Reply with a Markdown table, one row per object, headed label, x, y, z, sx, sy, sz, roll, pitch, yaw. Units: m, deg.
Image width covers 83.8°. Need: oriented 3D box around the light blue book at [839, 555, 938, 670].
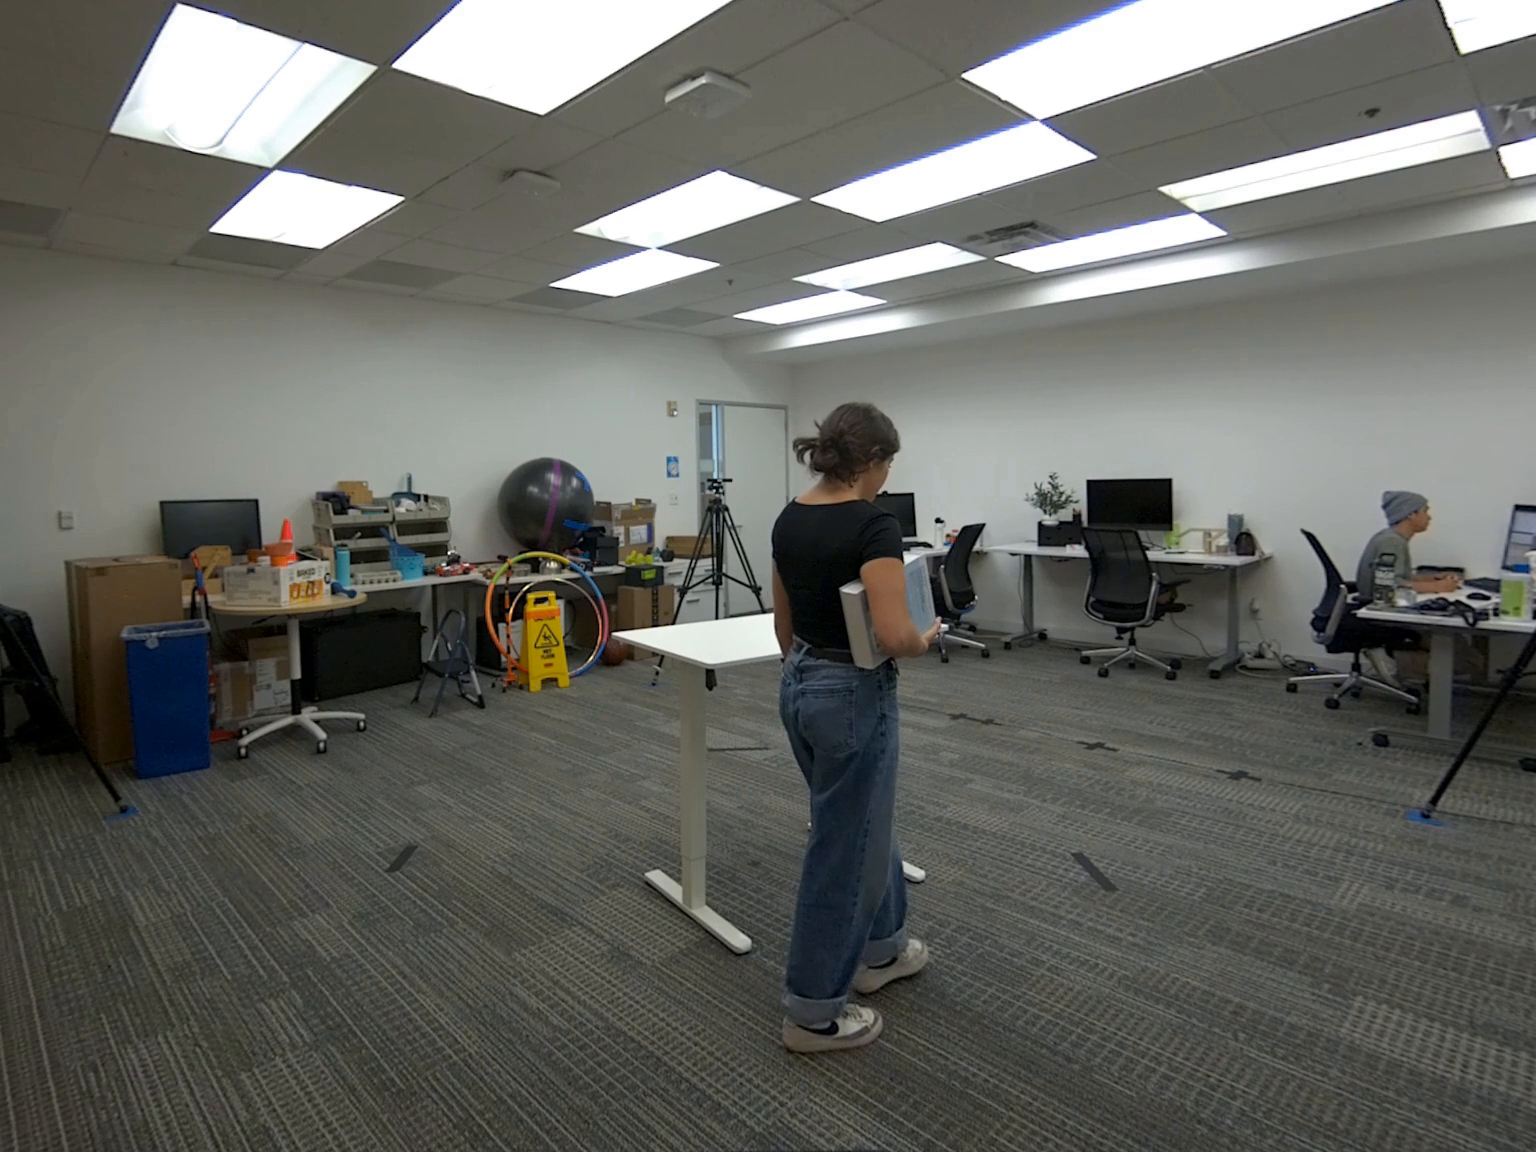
| label | x | y | z | sx | sy | sz | roll | pitch | yaw |
| --- | --- | --- | --- | --- | --- | --- | --- | --- | --- |
| light blue book | 0.285 | 0.073 | 1.996 | 0.257 | 0.189 | 0.061 | -23 | 14 | -39 |
